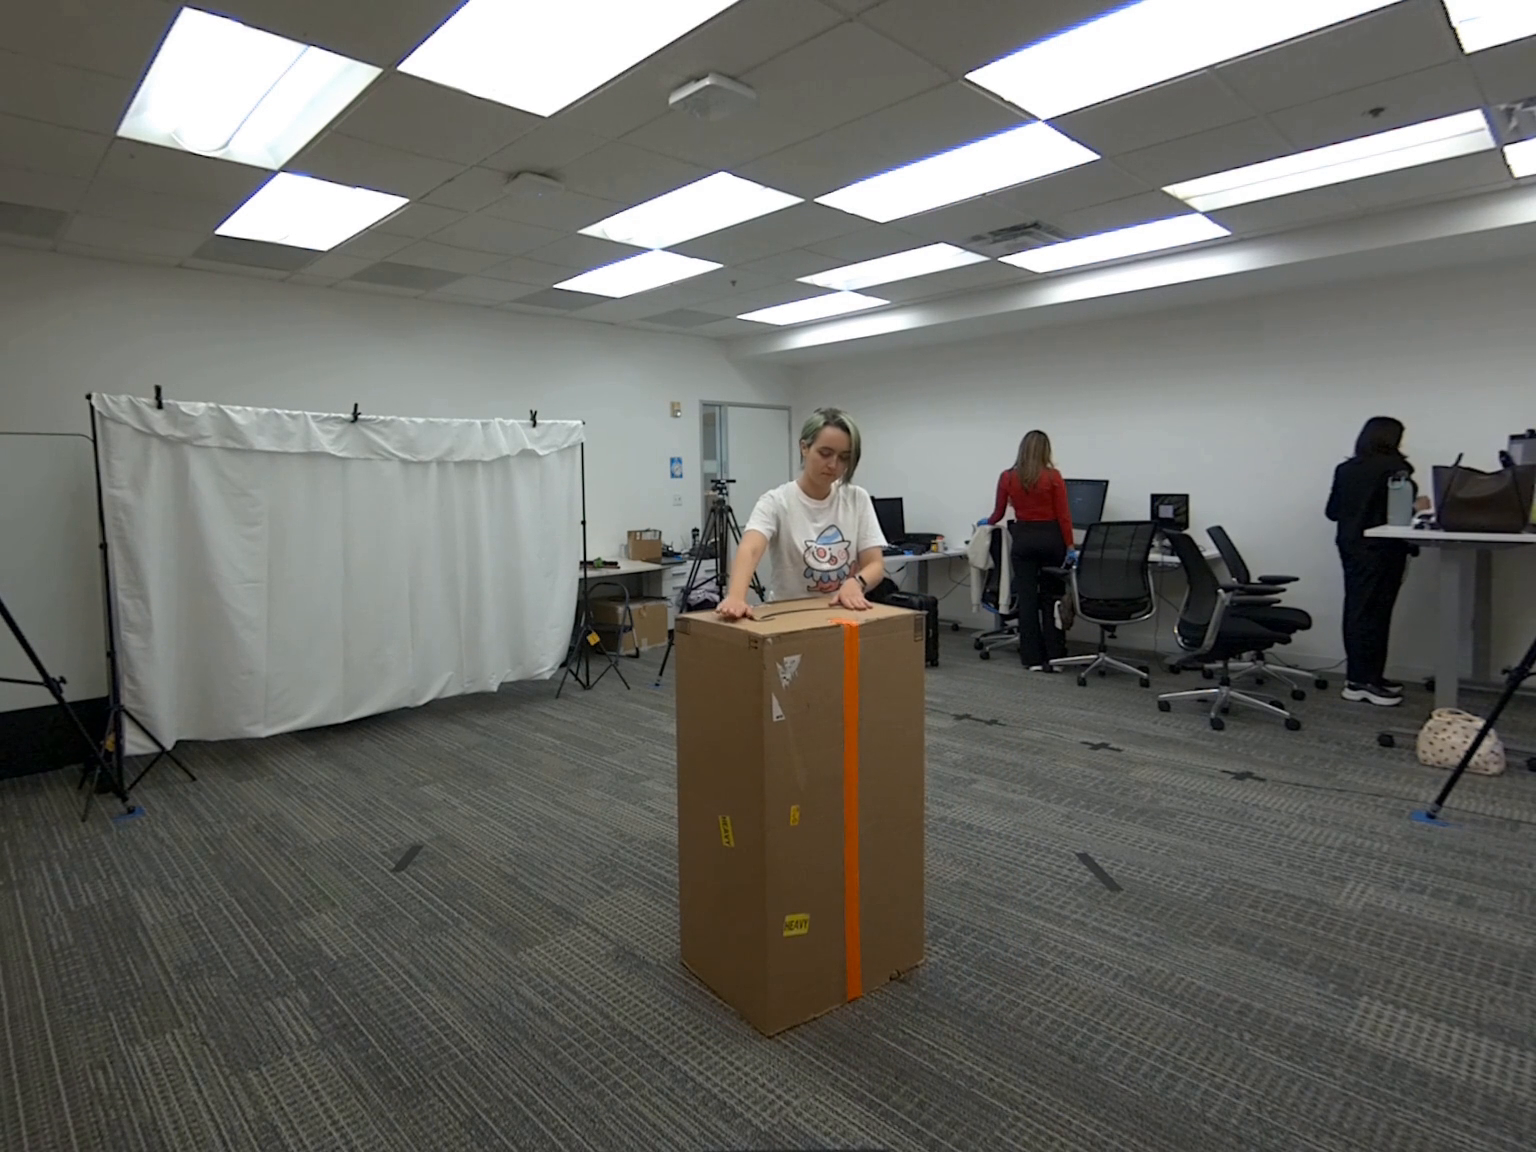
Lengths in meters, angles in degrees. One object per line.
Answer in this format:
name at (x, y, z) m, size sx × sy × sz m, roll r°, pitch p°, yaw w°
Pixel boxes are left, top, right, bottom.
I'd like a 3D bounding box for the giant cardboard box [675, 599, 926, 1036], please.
giant cardboard box at (0.095, 0.620, 2.434) m, size 0.569 × 1.024 × 0.460 m, roll -4°, pitch 4°, yaw -36°
